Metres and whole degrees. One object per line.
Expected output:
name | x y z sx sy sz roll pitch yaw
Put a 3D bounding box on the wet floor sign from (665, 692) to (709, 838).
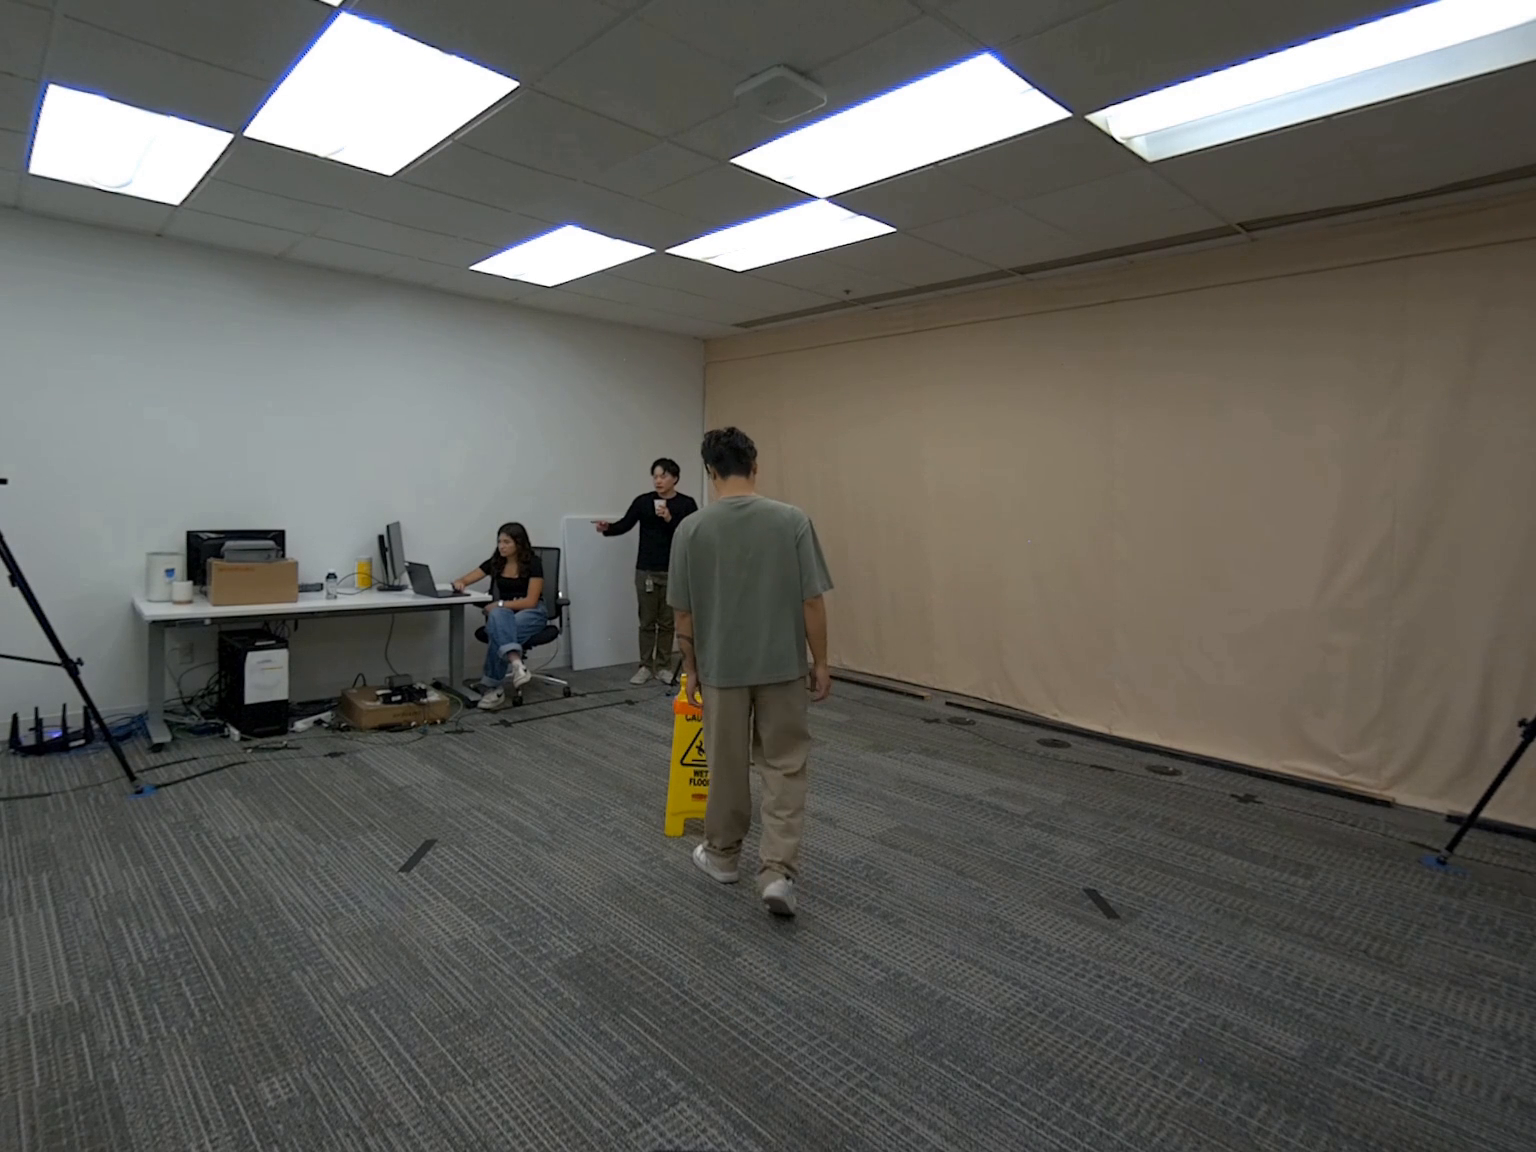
wet floor sign | -0.285 0.736 3.561 0.283 0.644 0.290 1 3 2
